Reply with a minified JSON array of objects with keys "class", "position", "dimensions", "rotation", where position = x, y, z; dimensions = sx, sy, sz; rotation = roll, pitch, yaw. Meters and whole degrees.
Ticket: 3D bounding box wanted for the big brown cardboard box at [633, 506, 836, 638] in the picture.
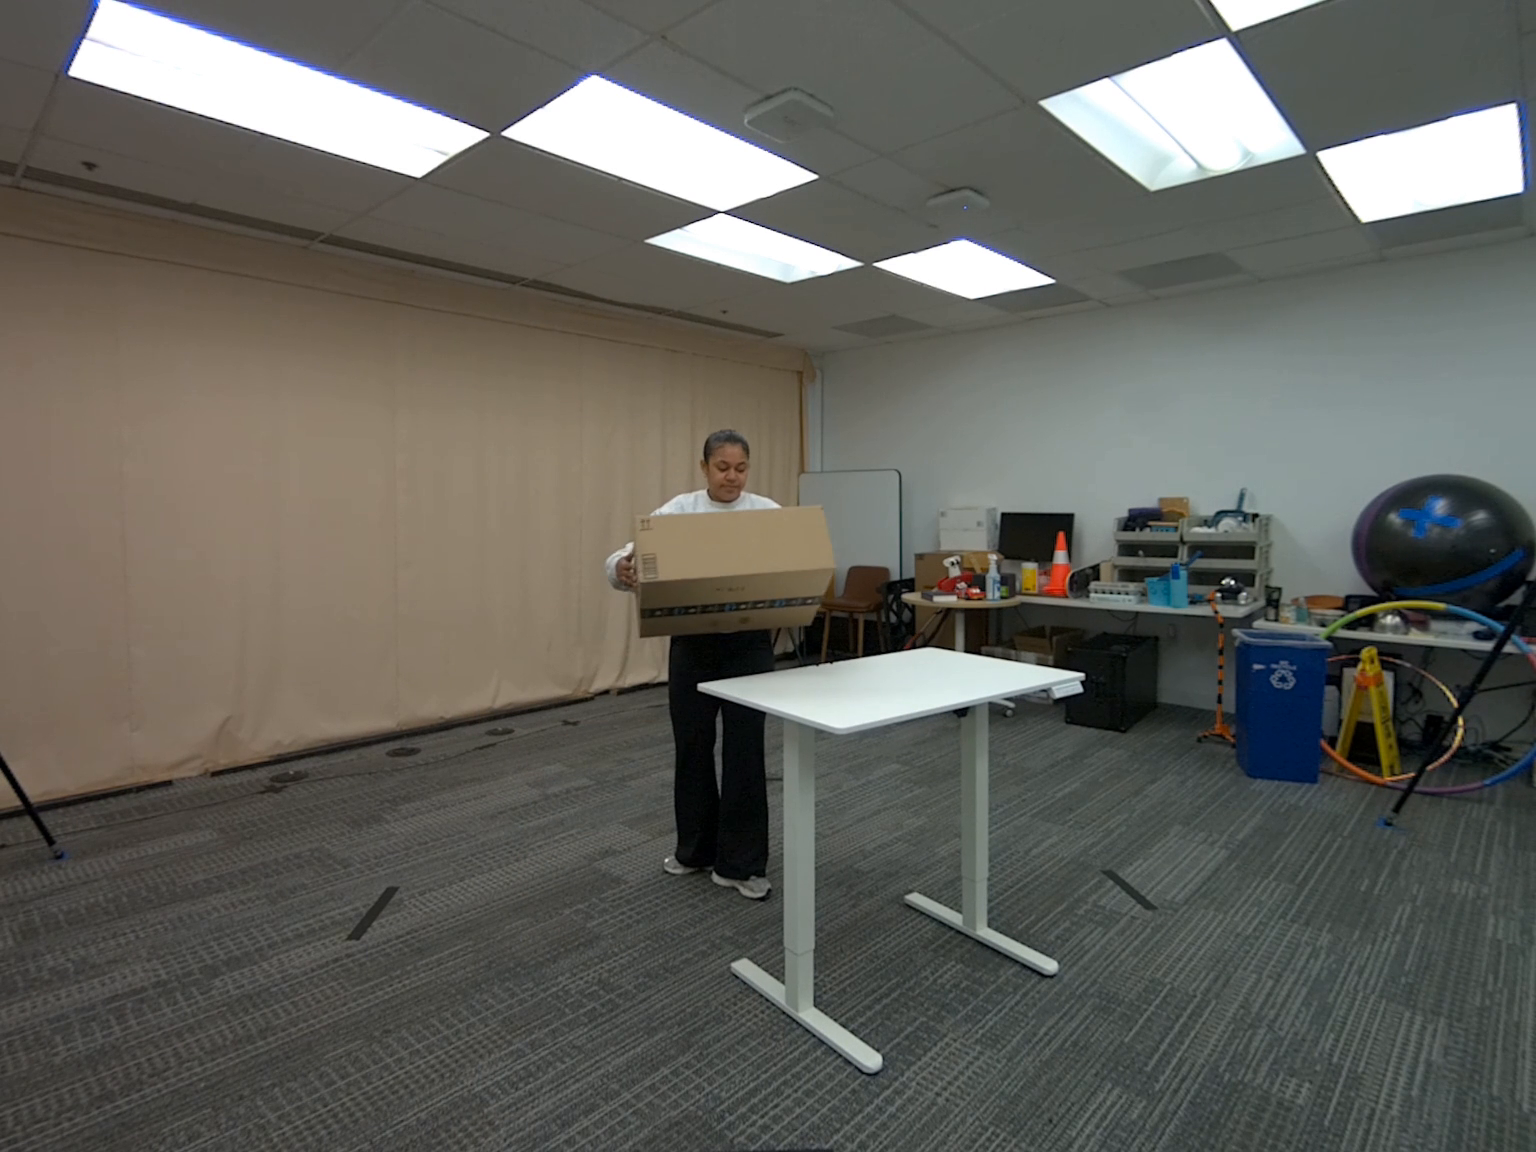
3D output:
[{"class":"big brown cardboard box","position":[-0.132,0.002,2.608],"dimensions":[0.584,0.237,0.414],"rotation":[-2,-26,-8]}]
